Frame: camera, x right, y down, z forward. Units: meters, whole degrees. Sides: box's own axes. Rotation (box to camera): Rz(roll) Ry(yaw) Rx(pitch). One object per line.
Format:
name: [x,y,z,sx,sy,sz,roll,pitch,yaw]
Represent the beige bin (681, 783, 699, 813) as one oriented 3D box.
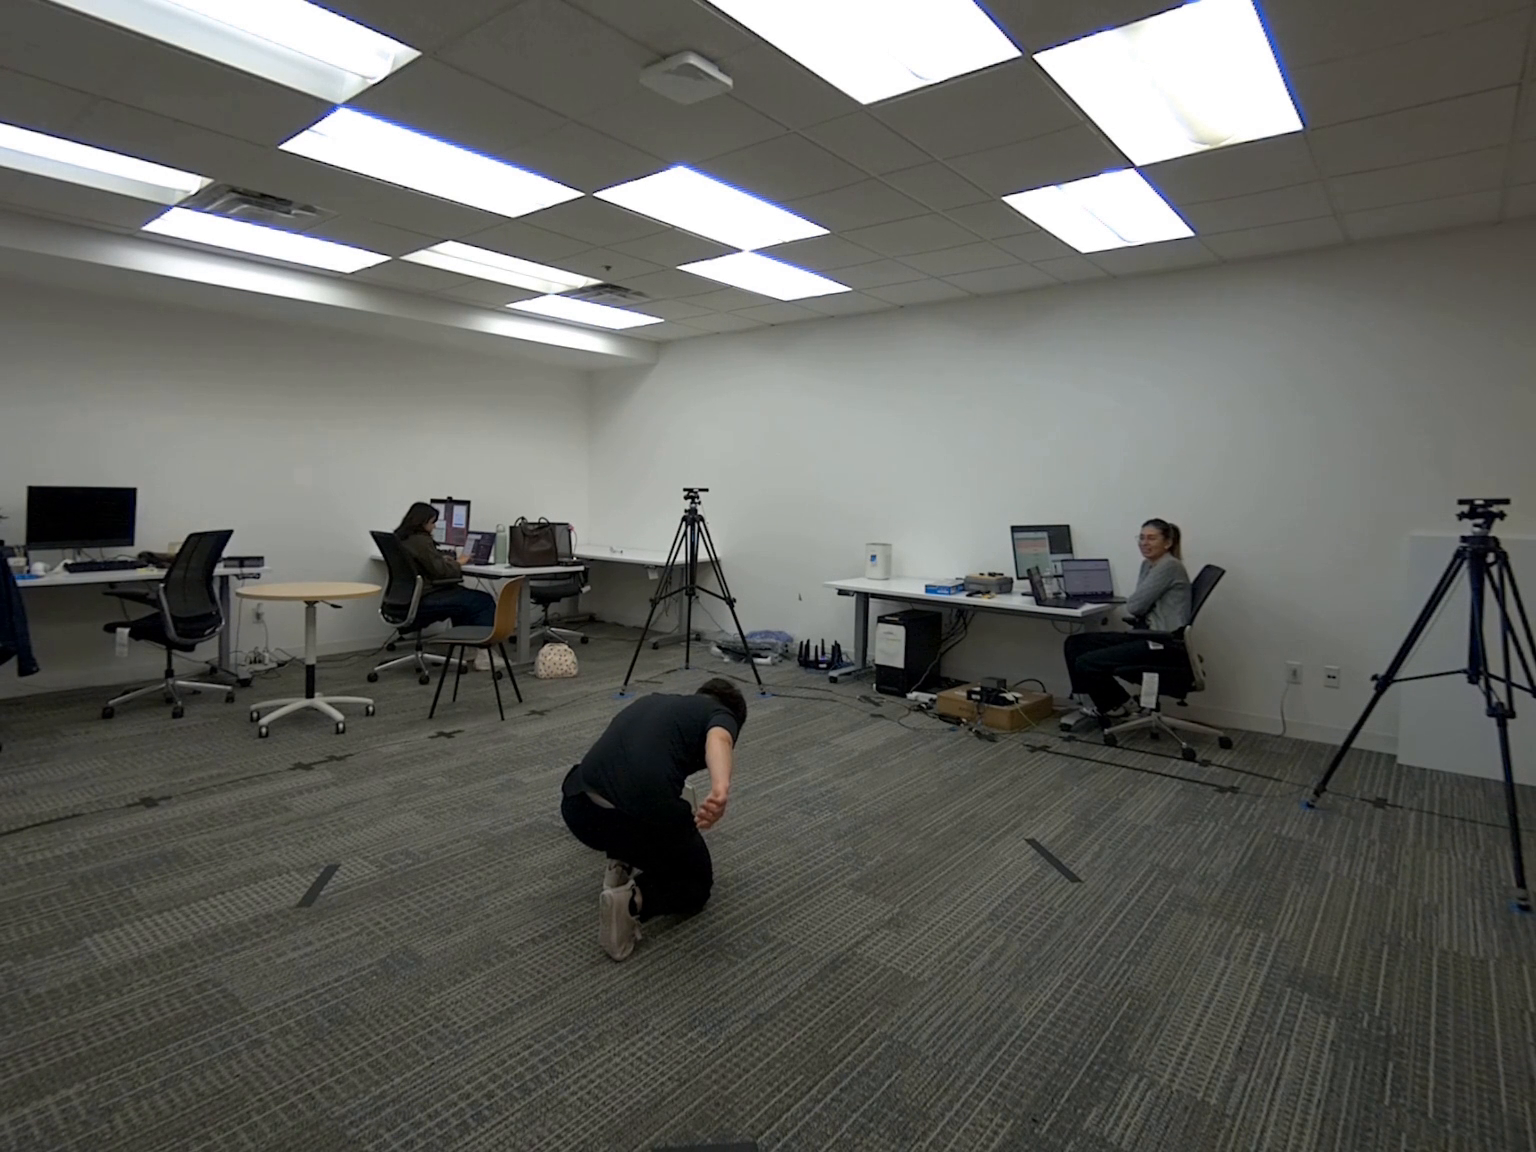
beige bin: [-0.570,0.932,3.478,0.410,0.188,0.390,-4,6,-37]
